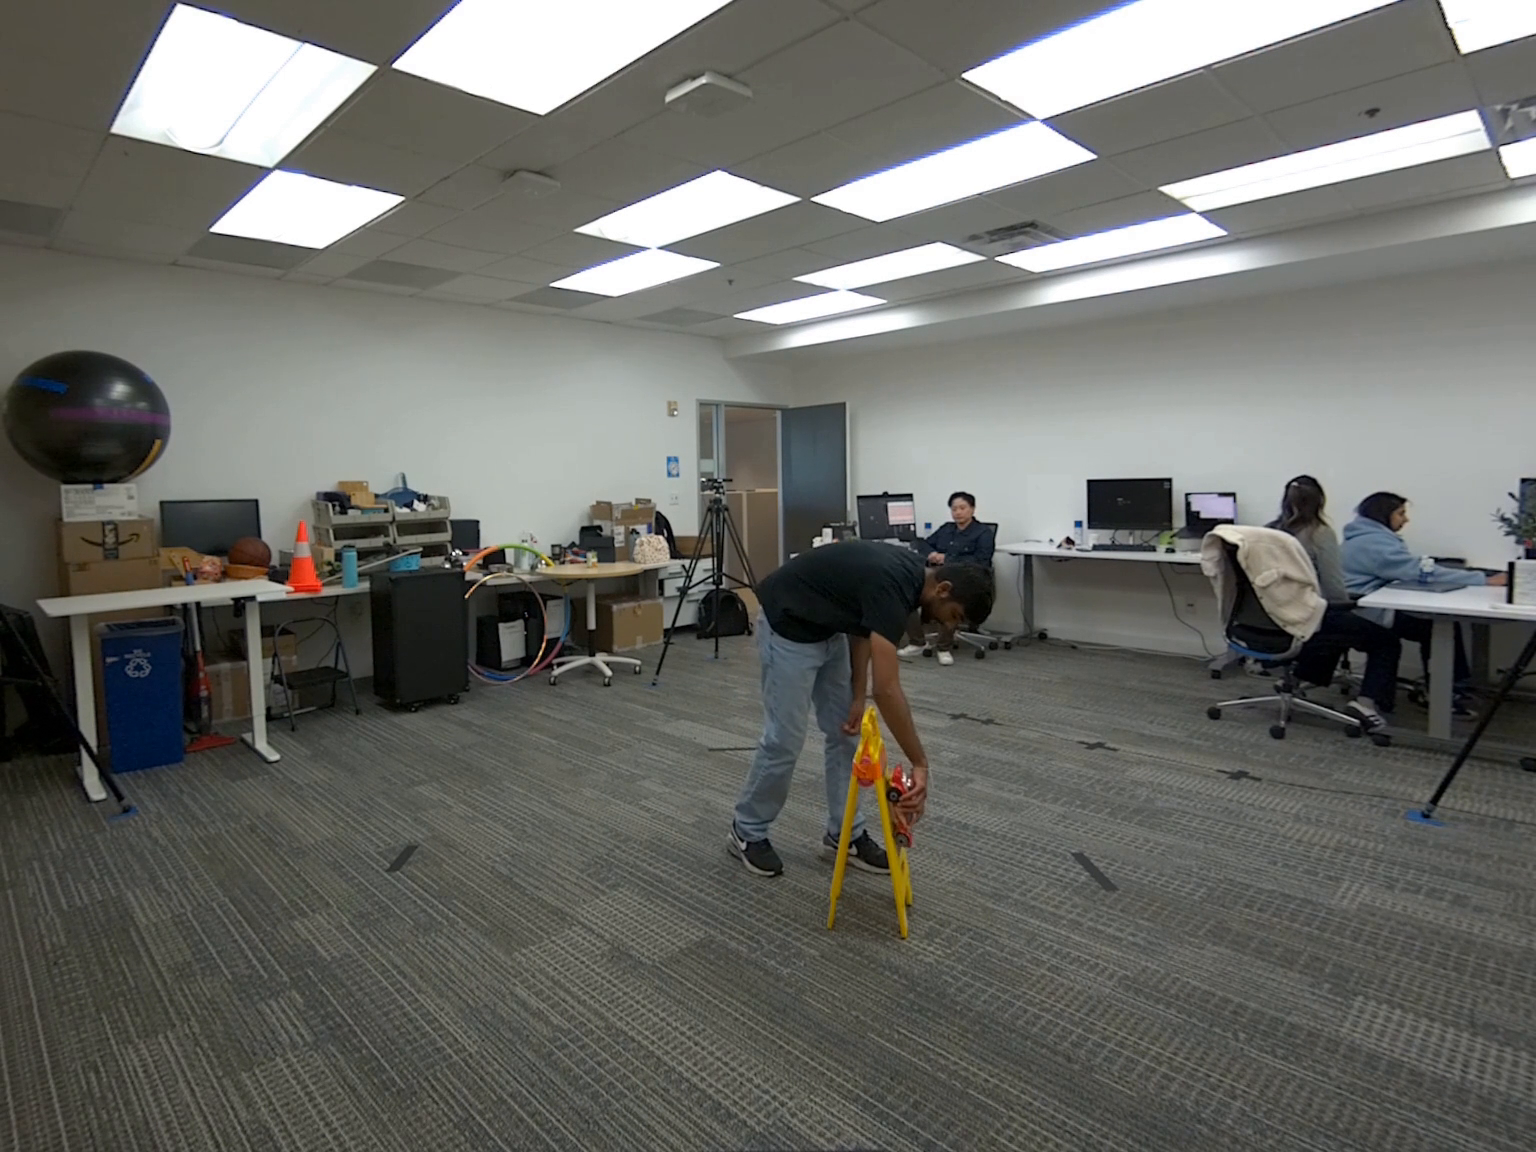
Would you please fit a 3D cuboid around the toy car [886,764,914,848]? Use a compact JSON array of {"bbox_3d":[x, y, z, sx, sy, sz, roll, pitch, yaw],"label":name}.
[{"bbox_3d":[0.405,0.717,2.685,0.084,0.252,0.130,1,10,11],"label":"toy car"}]
